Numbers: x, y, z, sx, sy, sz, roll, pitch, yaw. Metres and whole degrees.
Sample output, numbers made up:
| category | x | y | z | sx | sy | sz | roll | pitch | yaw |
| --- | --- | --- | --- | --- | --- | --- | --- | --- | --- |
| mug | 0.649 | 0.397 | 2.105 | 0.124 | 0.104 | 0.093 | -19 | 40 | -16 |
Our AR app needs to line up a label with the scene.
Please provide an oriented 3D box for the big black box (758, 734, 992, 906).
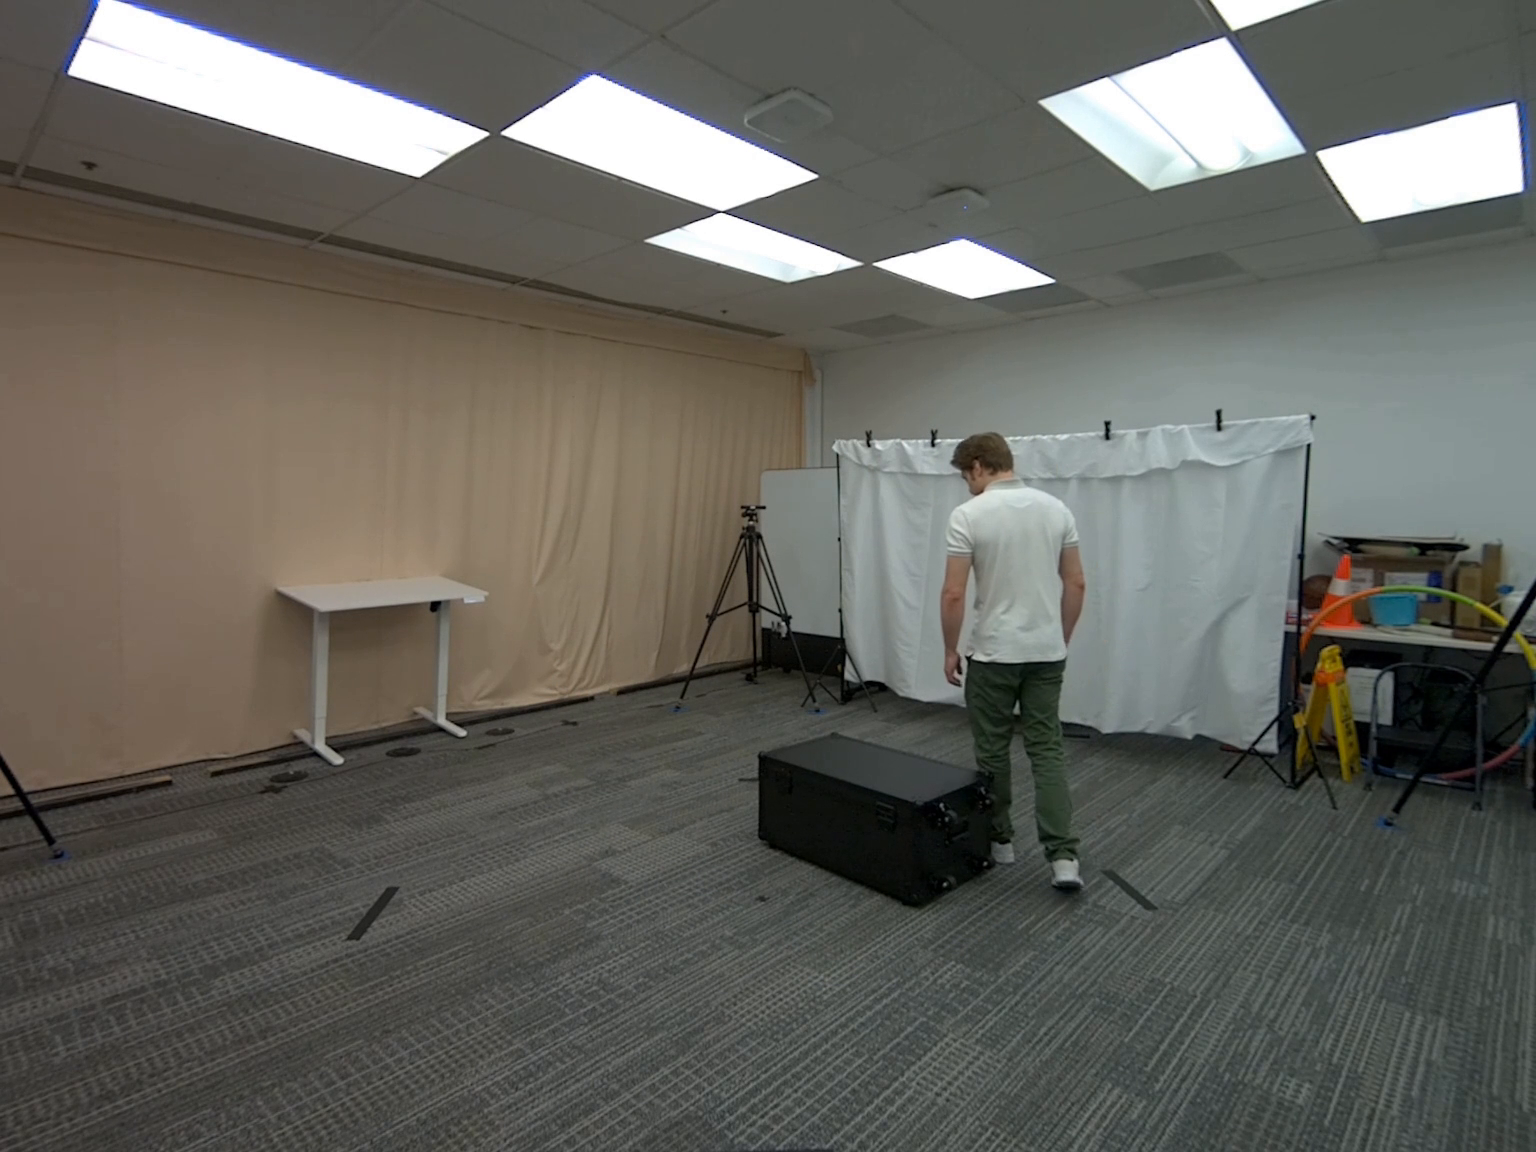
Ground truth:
| category | x | y | z | sx | sy | sz | roll | pitch | yaw |
| --- | --- | --- | --- | --- | --- | --- | --- | --- | --- |
| big black box | 0.428 | 0.925 | 3.294 | 0.505 | 0.395 | 0.890 | -4 | 5 | -44 |
